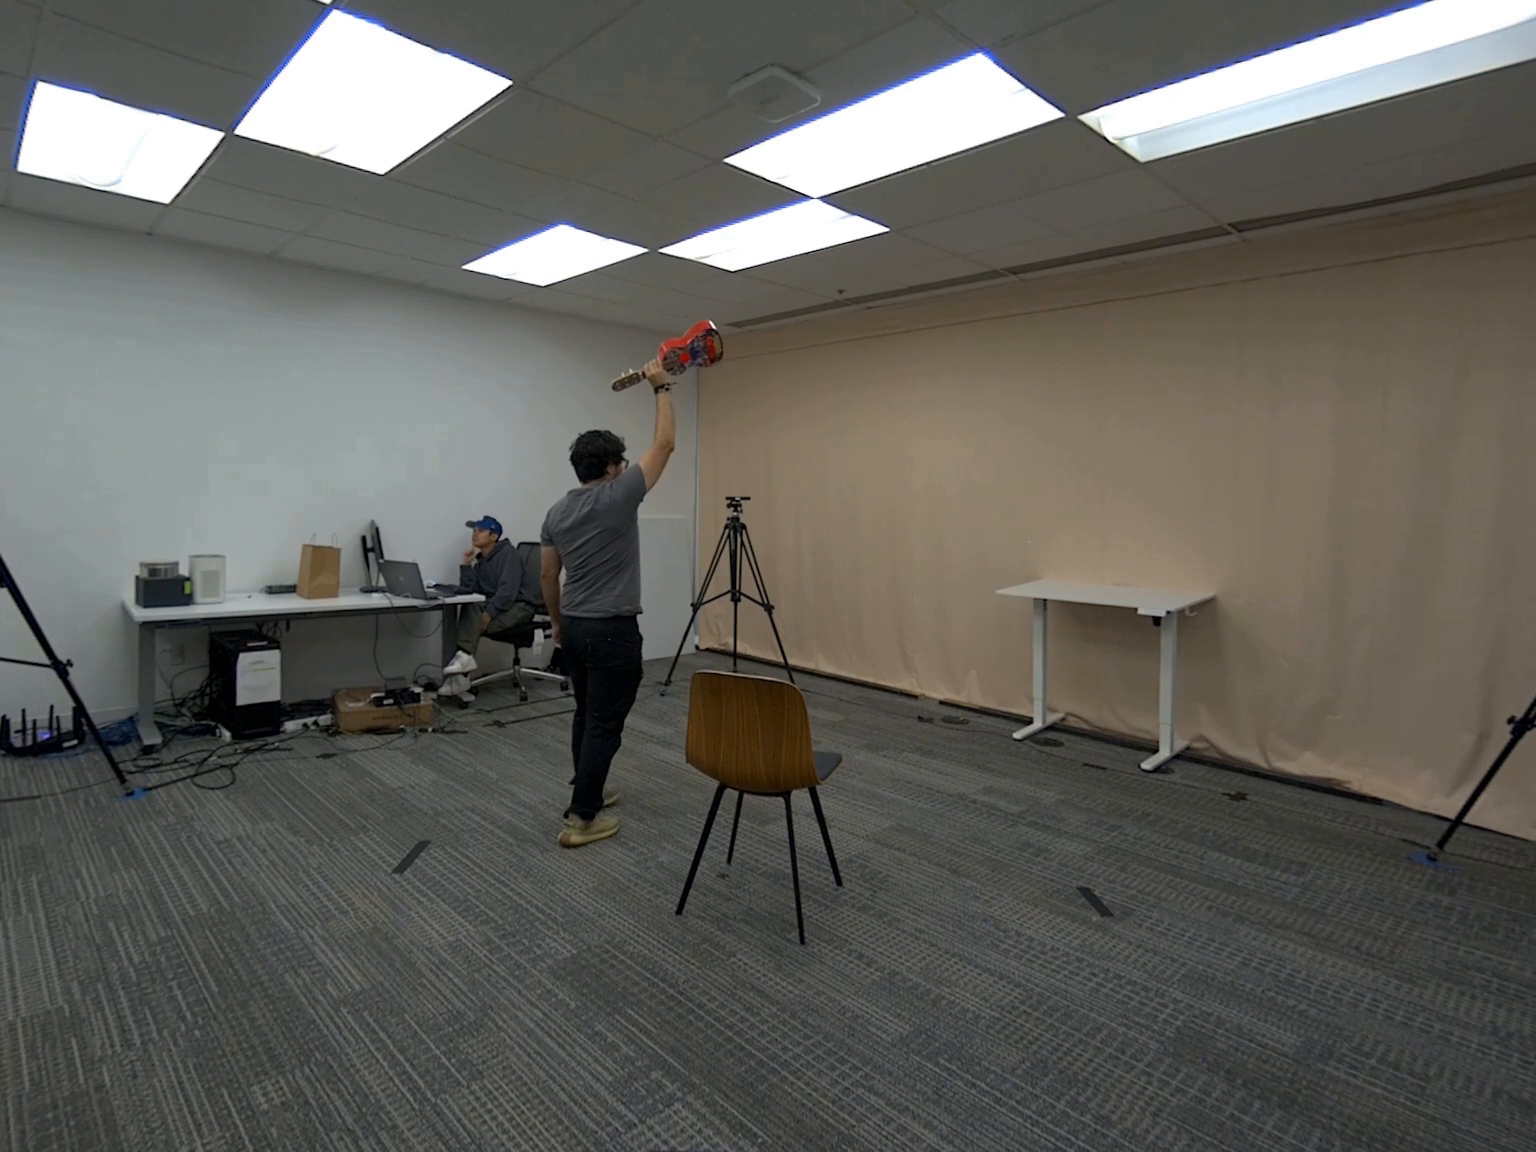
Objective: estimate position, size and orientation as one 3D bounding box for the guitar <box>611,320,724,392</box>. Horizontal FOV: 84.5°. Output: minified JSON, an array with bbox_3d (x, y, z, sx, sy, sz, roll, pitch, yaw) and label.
[{"bbox_3d":[-0.435,-0.910,3.470,0.494,0.188,0.073,-19,51,-13],"label":"guitar"}]
